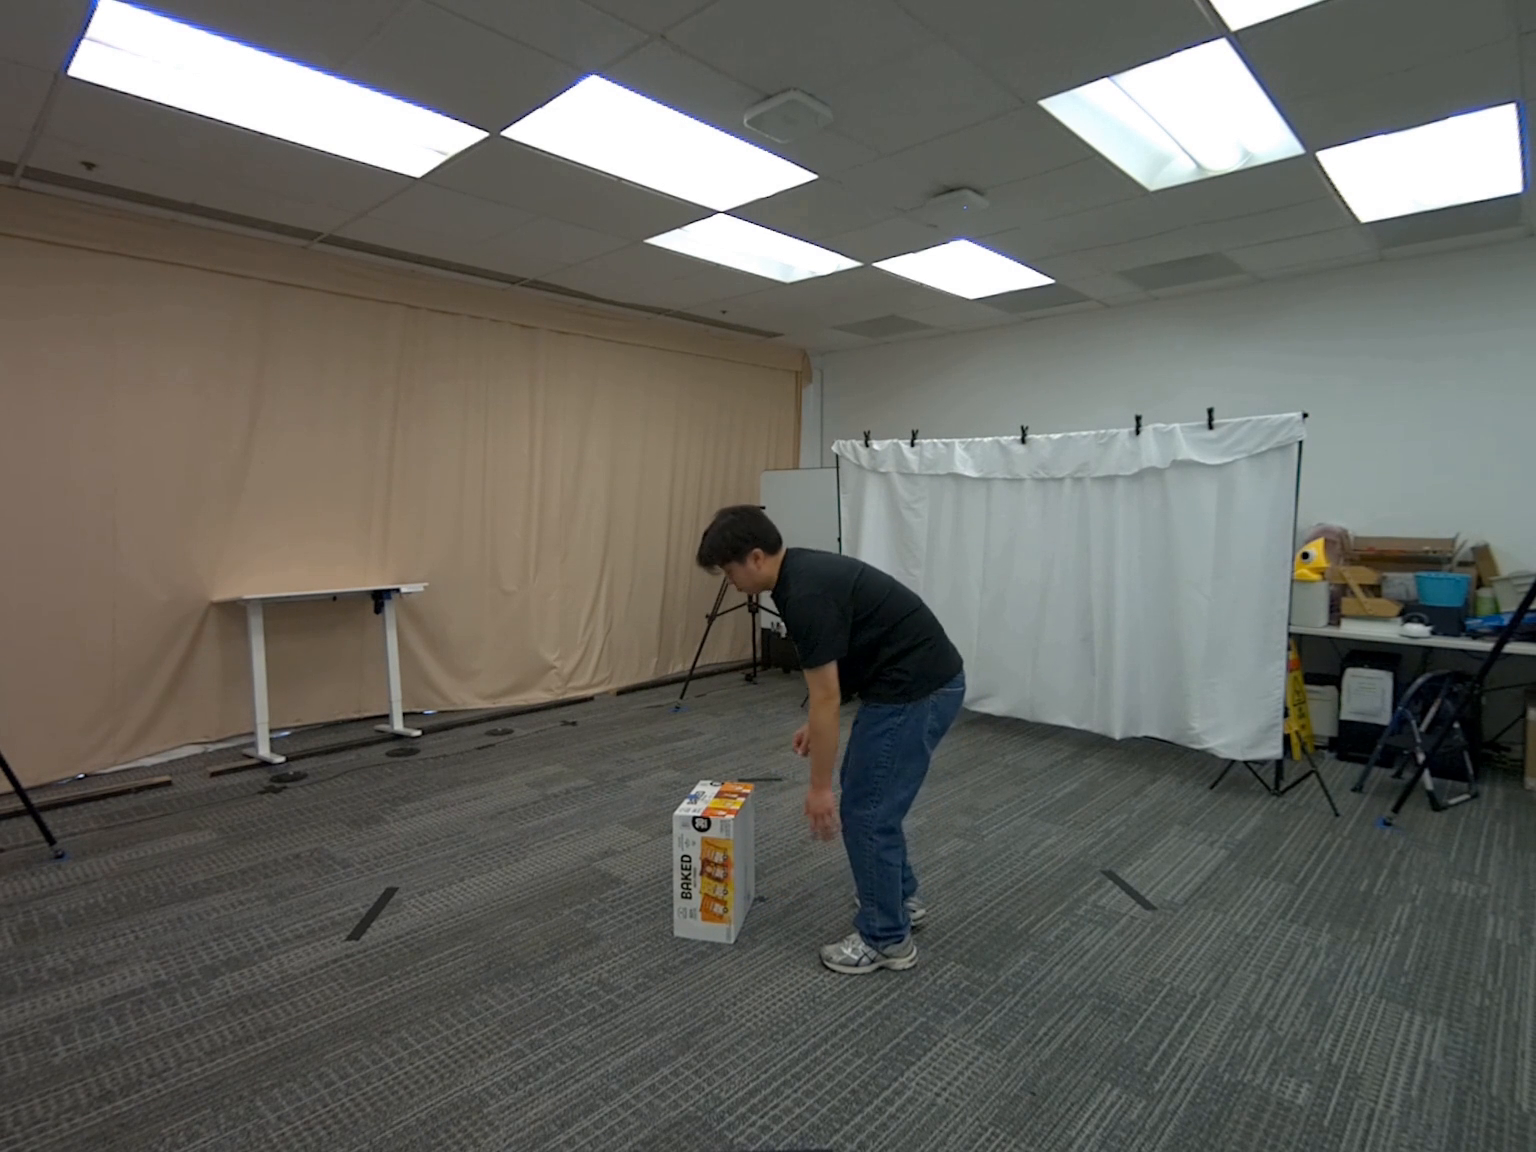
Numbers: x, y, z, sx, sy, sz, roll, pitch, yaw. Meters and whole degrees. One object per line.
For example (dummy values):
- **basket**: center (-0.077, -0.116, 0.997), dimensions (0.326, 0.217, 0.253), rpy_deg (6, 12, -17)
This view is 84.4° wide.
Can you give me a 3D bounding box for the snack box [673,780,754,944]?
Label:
- **snack box**: center (-0.172, 0.952, 2.851), dimensions (0.208, 0.404, 0.336), rpy_deg (0, 3, 12)
